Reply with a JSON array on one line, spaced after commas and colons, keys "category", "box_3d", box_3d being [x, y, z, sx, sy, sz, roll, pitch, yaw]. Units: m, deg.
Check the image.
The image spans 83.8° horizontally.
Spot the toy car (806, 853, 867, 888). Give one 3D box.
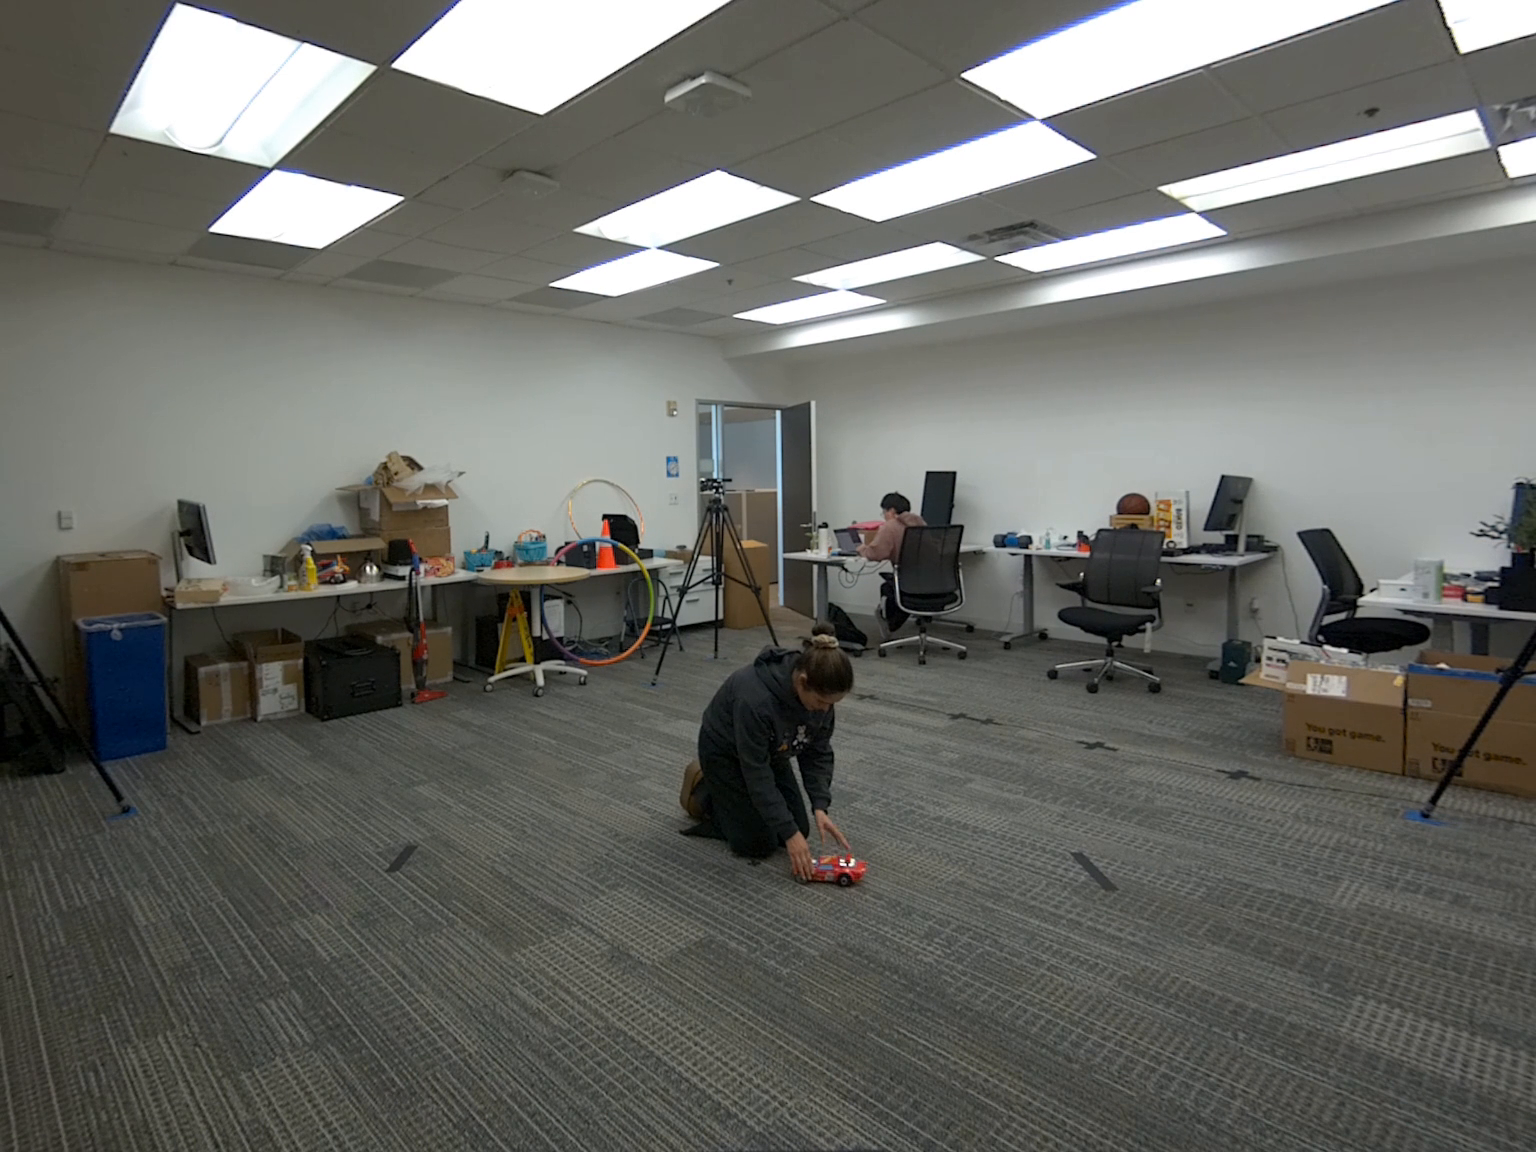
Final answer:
[{"category": "toy car", "box_3d": [0.225, 1.024, 2.962, 0.257, 0.083, 0.129, -13, 2, 13]}]
